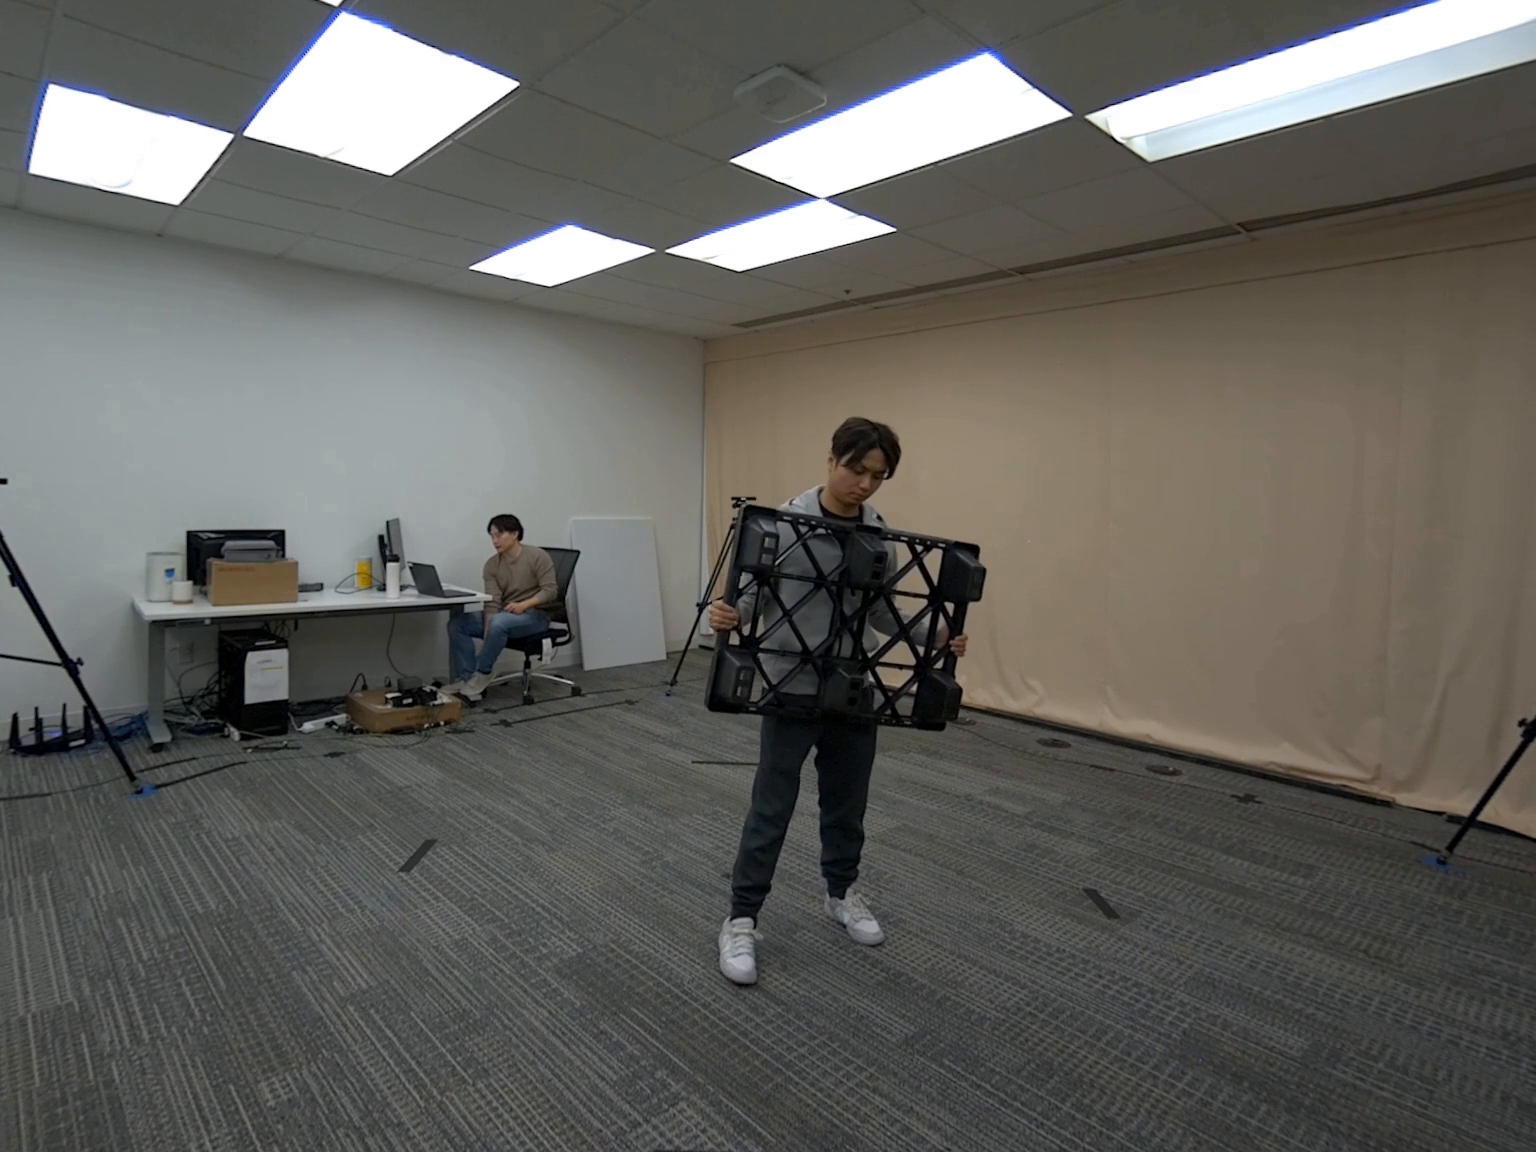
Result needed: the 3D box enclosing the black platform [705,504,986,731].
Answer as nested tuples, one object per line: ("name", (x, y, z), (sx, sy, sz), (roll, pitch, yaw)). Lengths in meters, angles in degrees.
("black platform", (0.239, 0.151, 2.457), (0.792, 0.604, 0.146), (9, 4, -19))
